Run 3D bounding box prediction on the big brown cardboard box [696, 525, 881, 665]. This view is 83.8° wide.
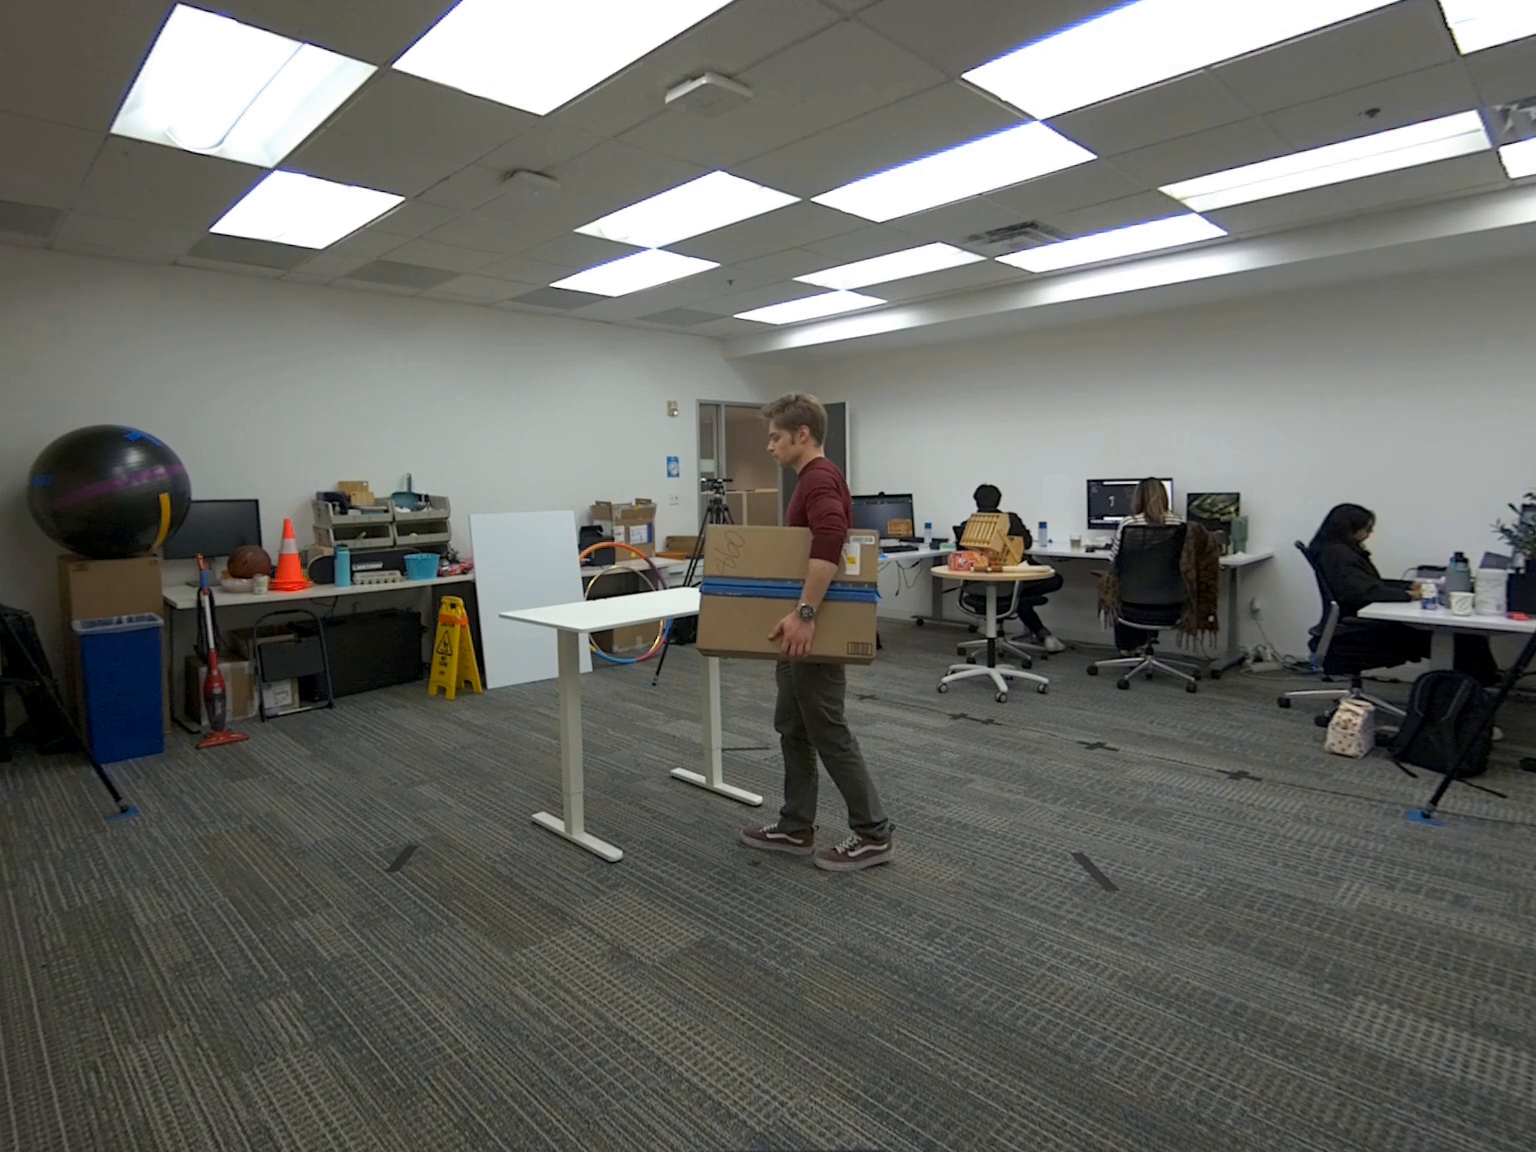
[{"bbox_3d":[0.070,0.062,2.840,0.594,0.422,0.228,1,-13,8],"label":"big brown cardboard box"}]
